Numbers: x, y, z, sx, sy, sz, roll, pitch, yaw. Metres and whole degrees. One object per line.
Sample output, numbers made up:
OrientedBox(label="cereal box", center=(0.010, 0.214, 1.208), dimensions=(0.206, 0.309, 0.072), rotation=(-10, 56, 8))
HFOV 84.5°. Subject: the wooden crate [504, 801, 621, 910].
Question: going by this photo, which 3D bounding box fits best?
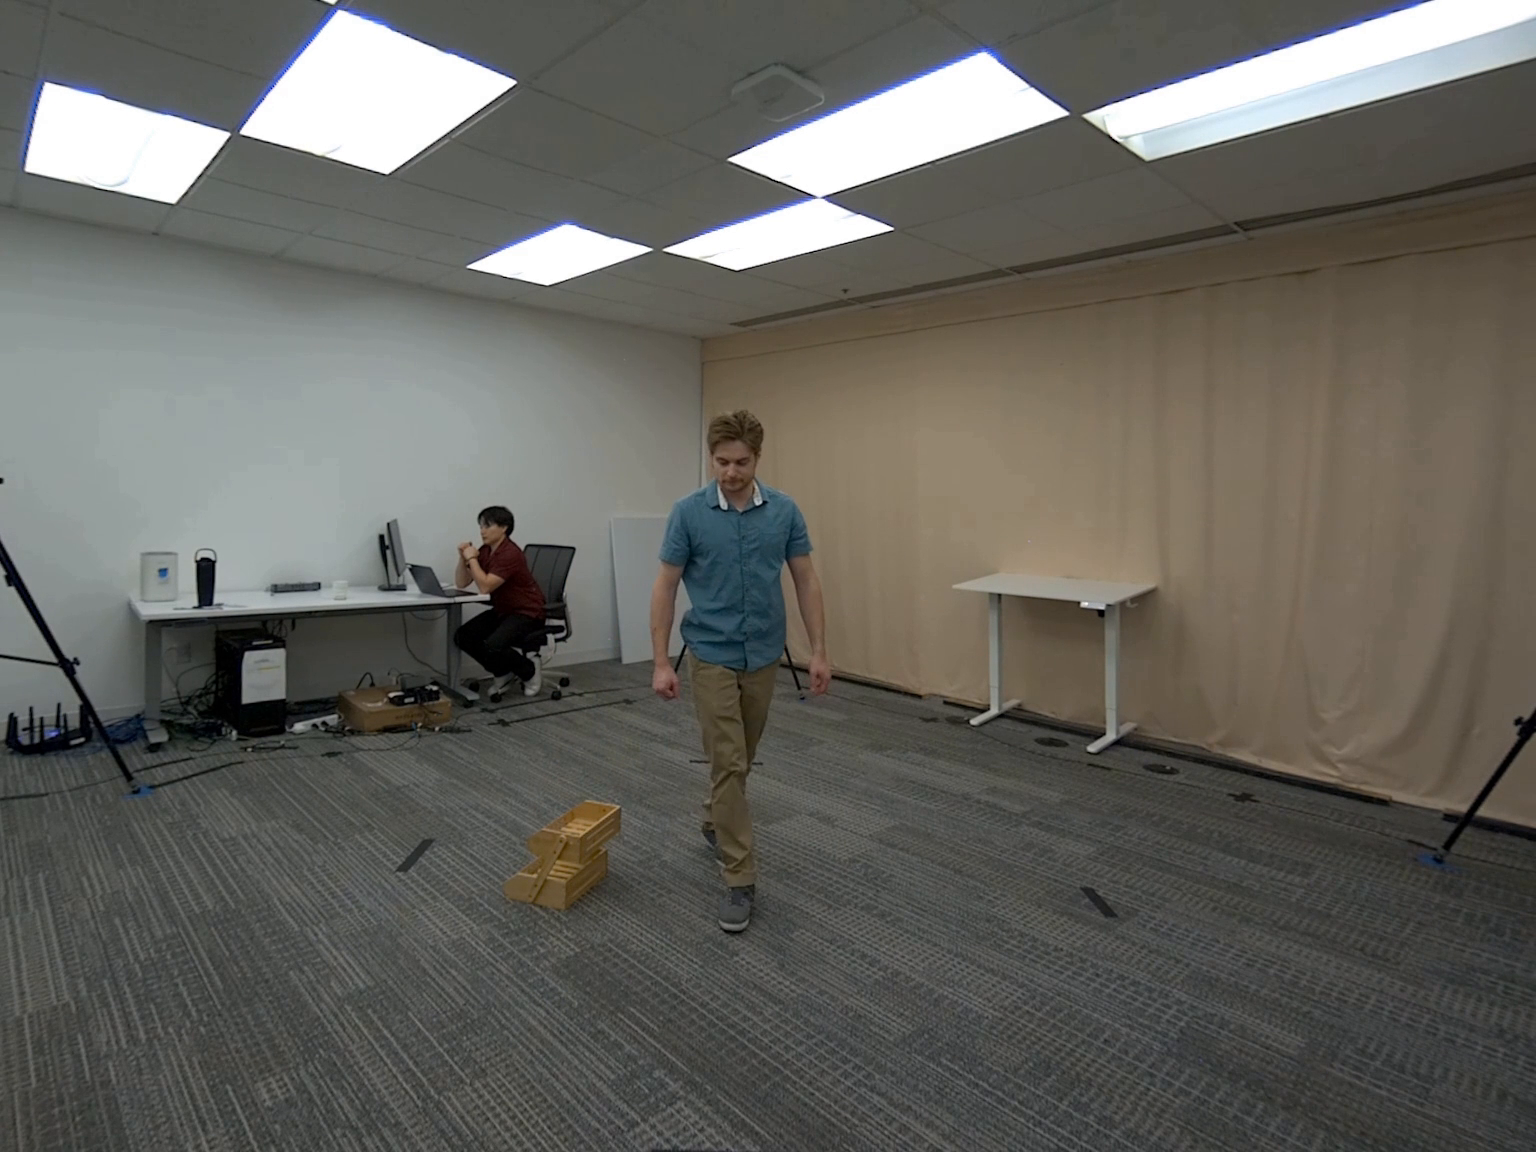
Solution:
OrientedBox(label="wooden crate", center=(-0.734, 0.971, 2.978), dimensions=(0.306, 0.272, 0.321), rotation=(3, 5, 17))
